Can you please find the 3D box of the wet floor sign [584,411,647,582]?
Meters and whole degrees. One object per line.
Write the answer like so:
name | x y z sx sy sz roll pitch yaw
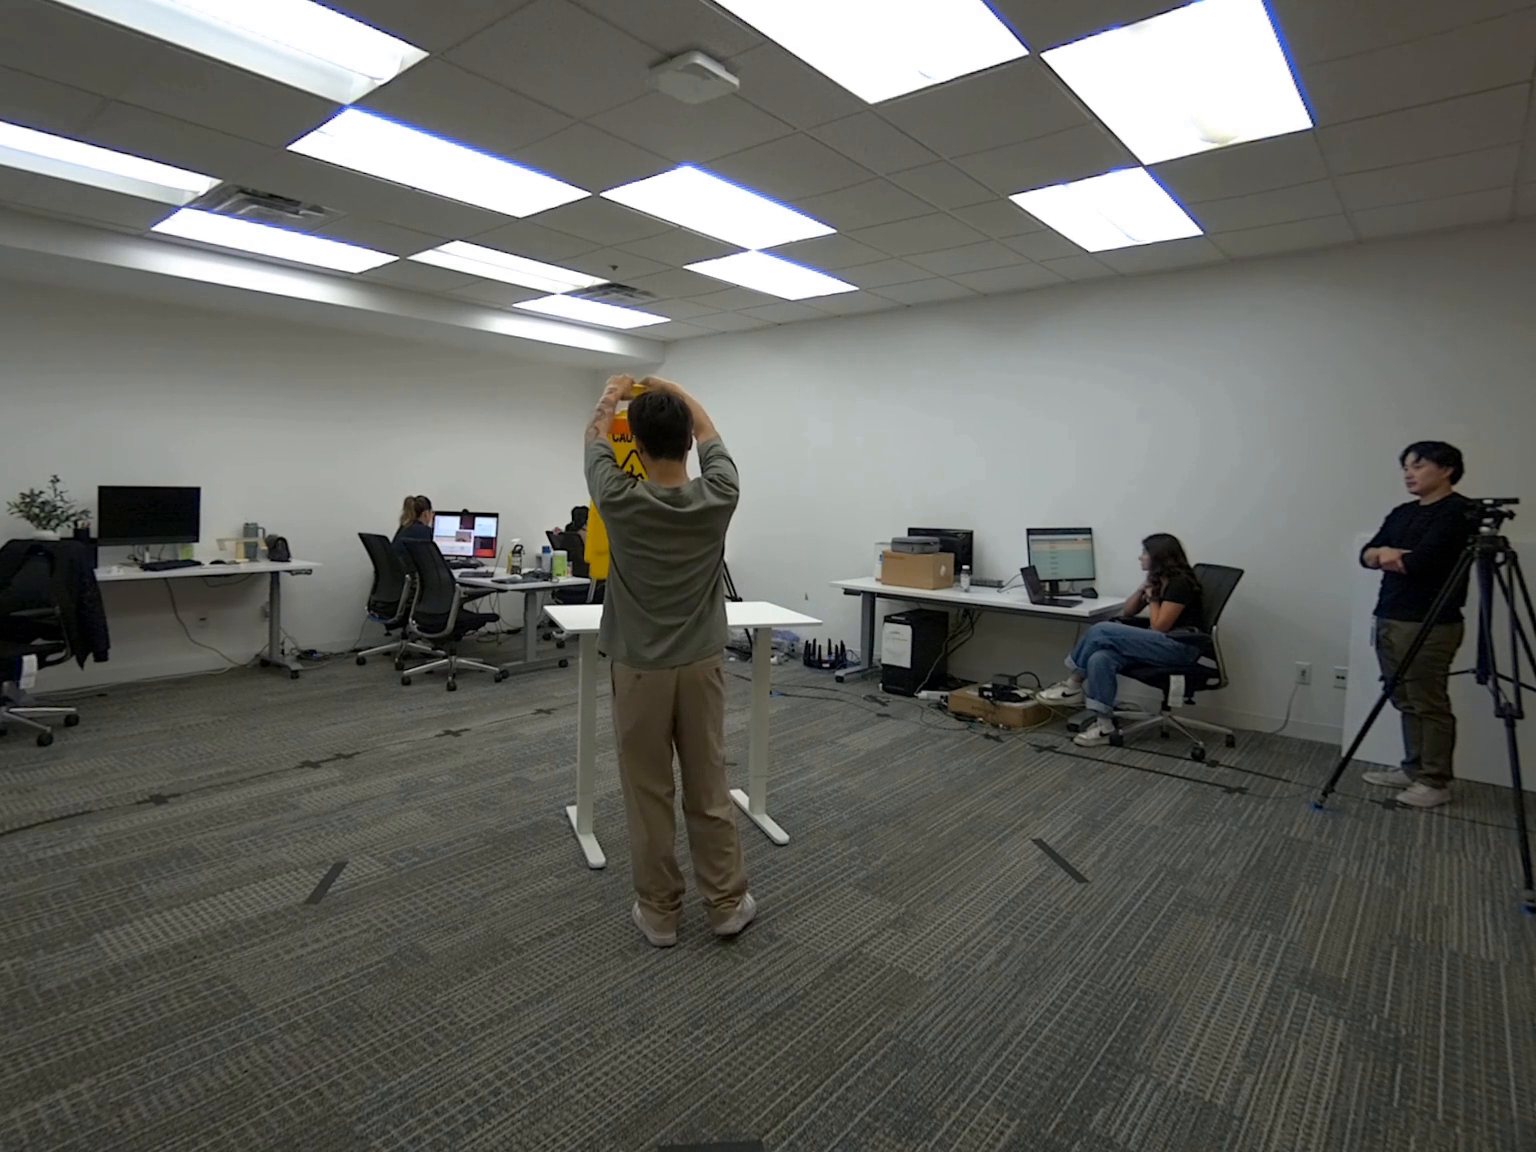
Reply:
wet floor sign | -0.471 -0.327 2.963 0.279 0.640 0.296 -1 10 -12
